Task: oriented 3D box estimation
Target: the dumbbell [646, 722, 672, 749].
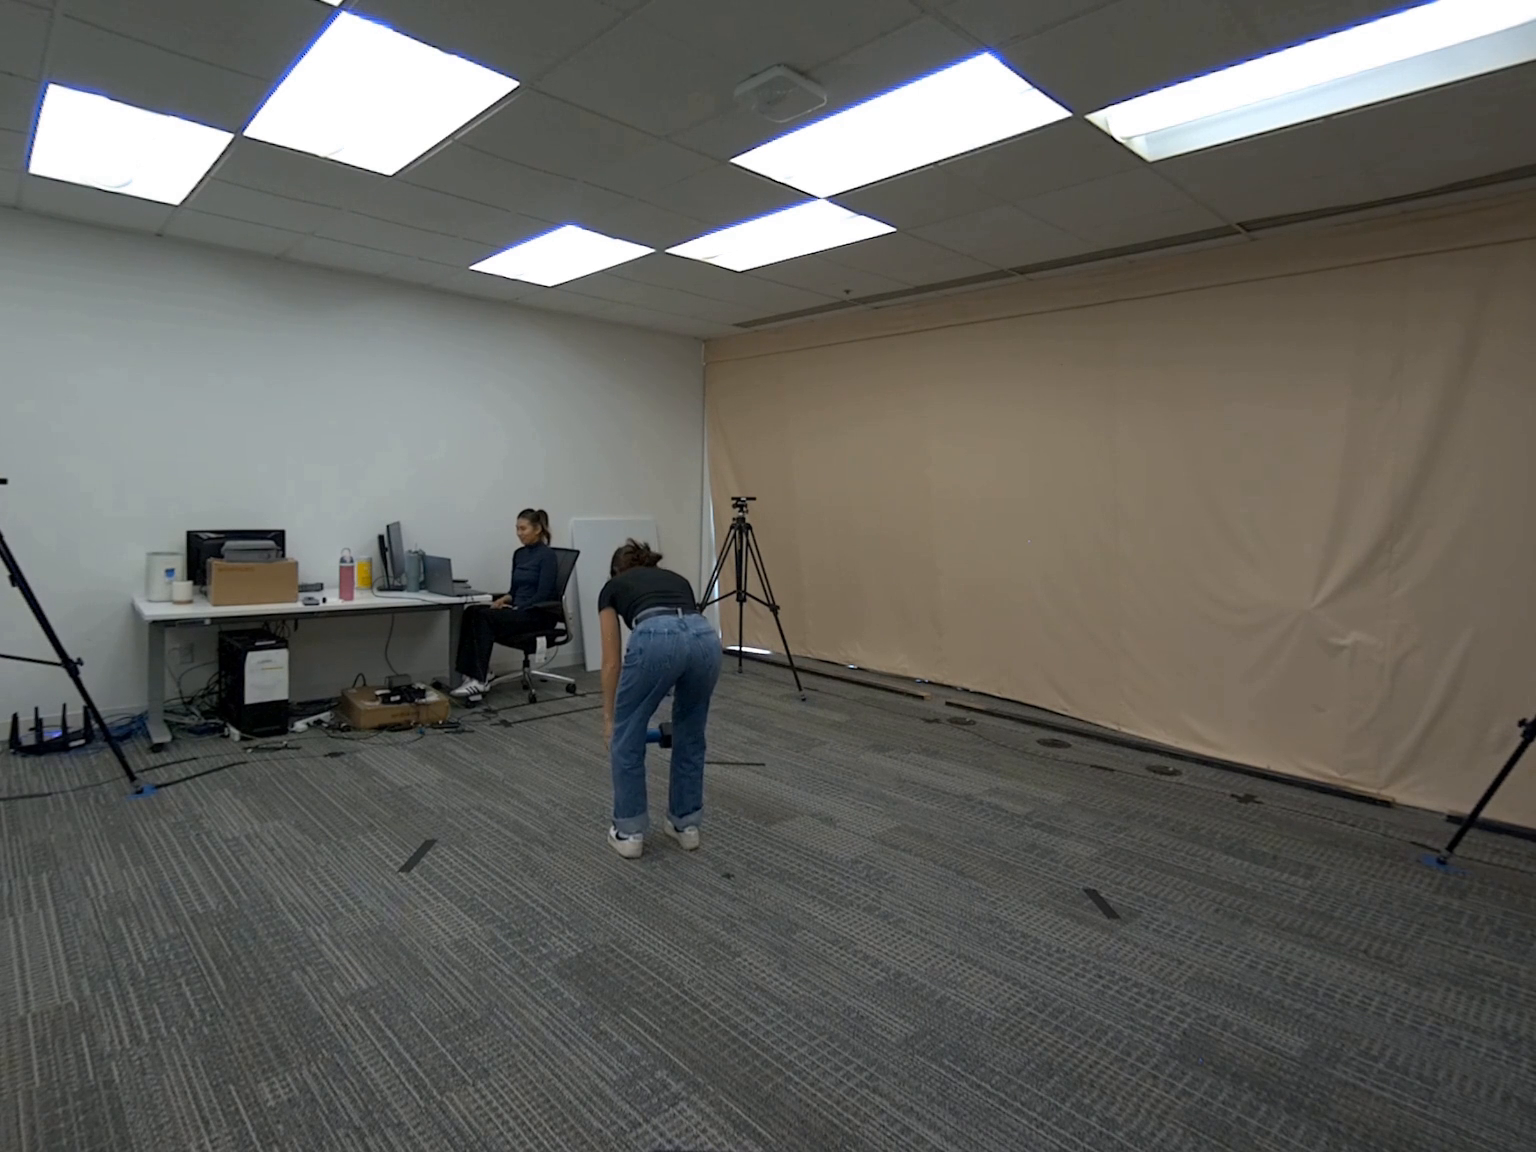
[{"bbox_3d":[-0.513,0.665,3.510,0.289,0.107,0.126,0,46,-19],"label":"dumbbell"}]
